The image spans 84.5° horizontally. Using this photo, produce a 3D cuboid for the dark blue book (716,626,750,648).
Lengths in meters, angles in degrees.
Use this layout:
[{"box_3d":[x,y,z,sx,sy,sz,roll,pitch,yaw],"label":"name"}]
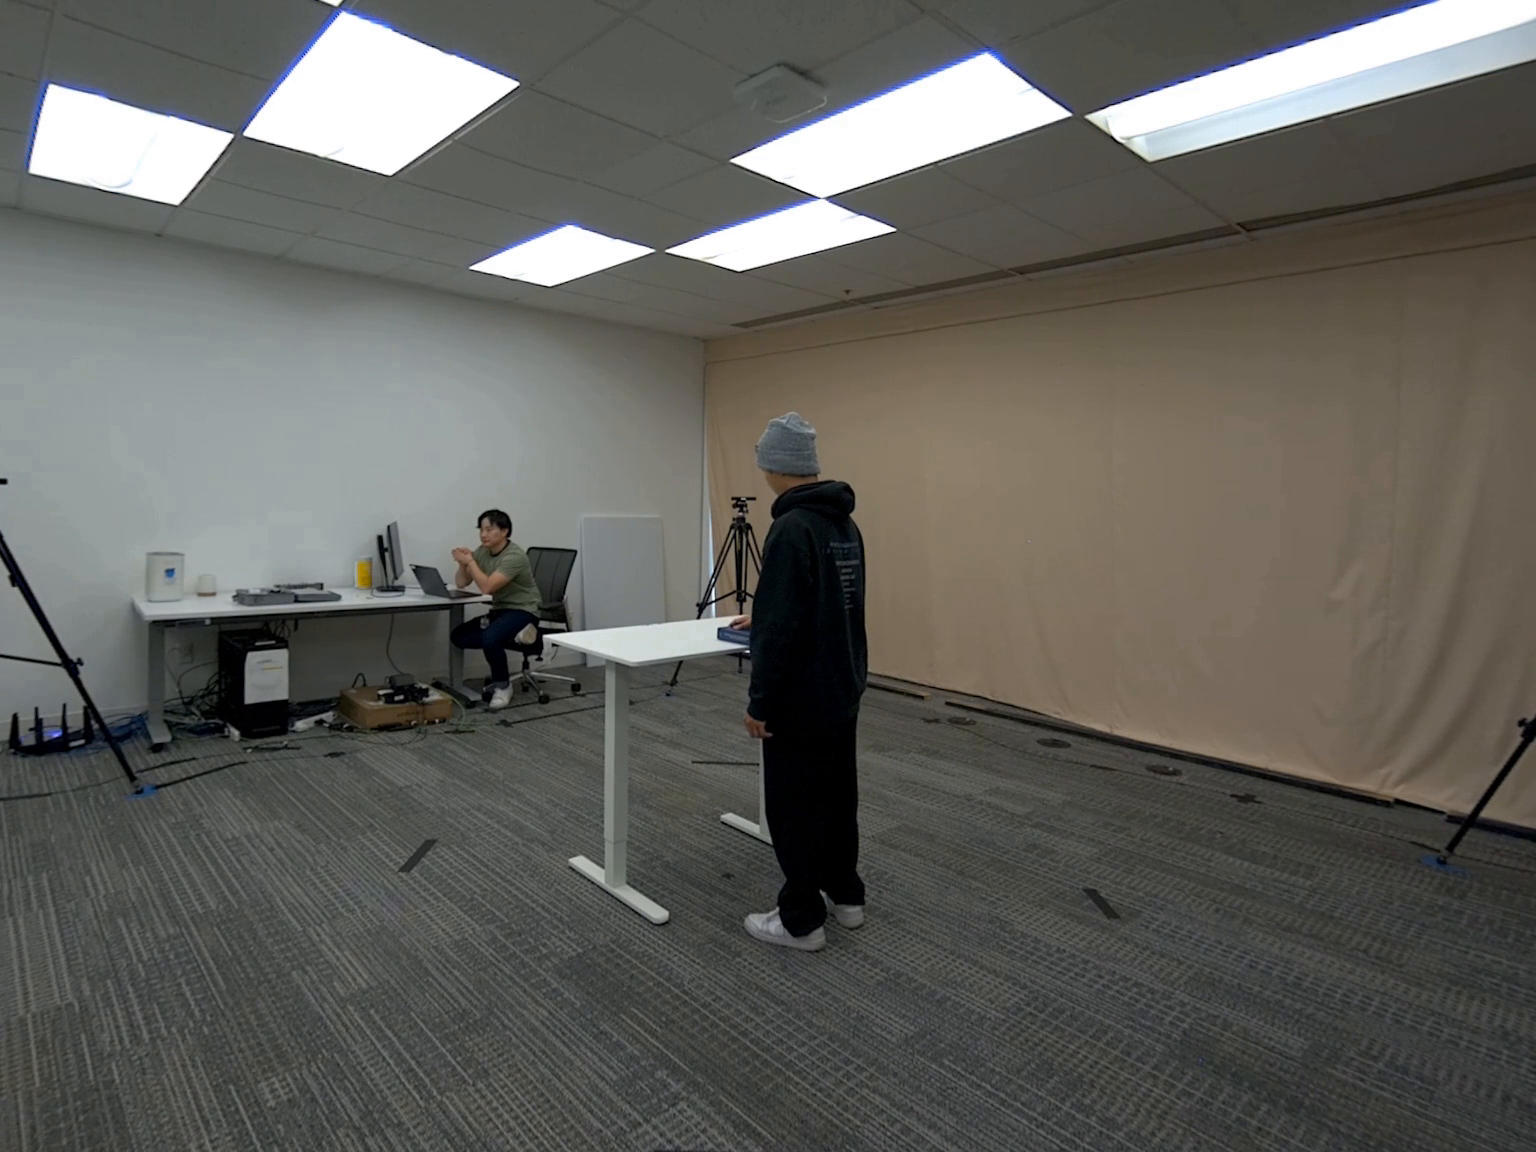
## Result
[{"box_3d":[-0.044,0.216,2.999,0.160,0.045,0.251,-3,6,-43],"label":"dark blue book"}]
